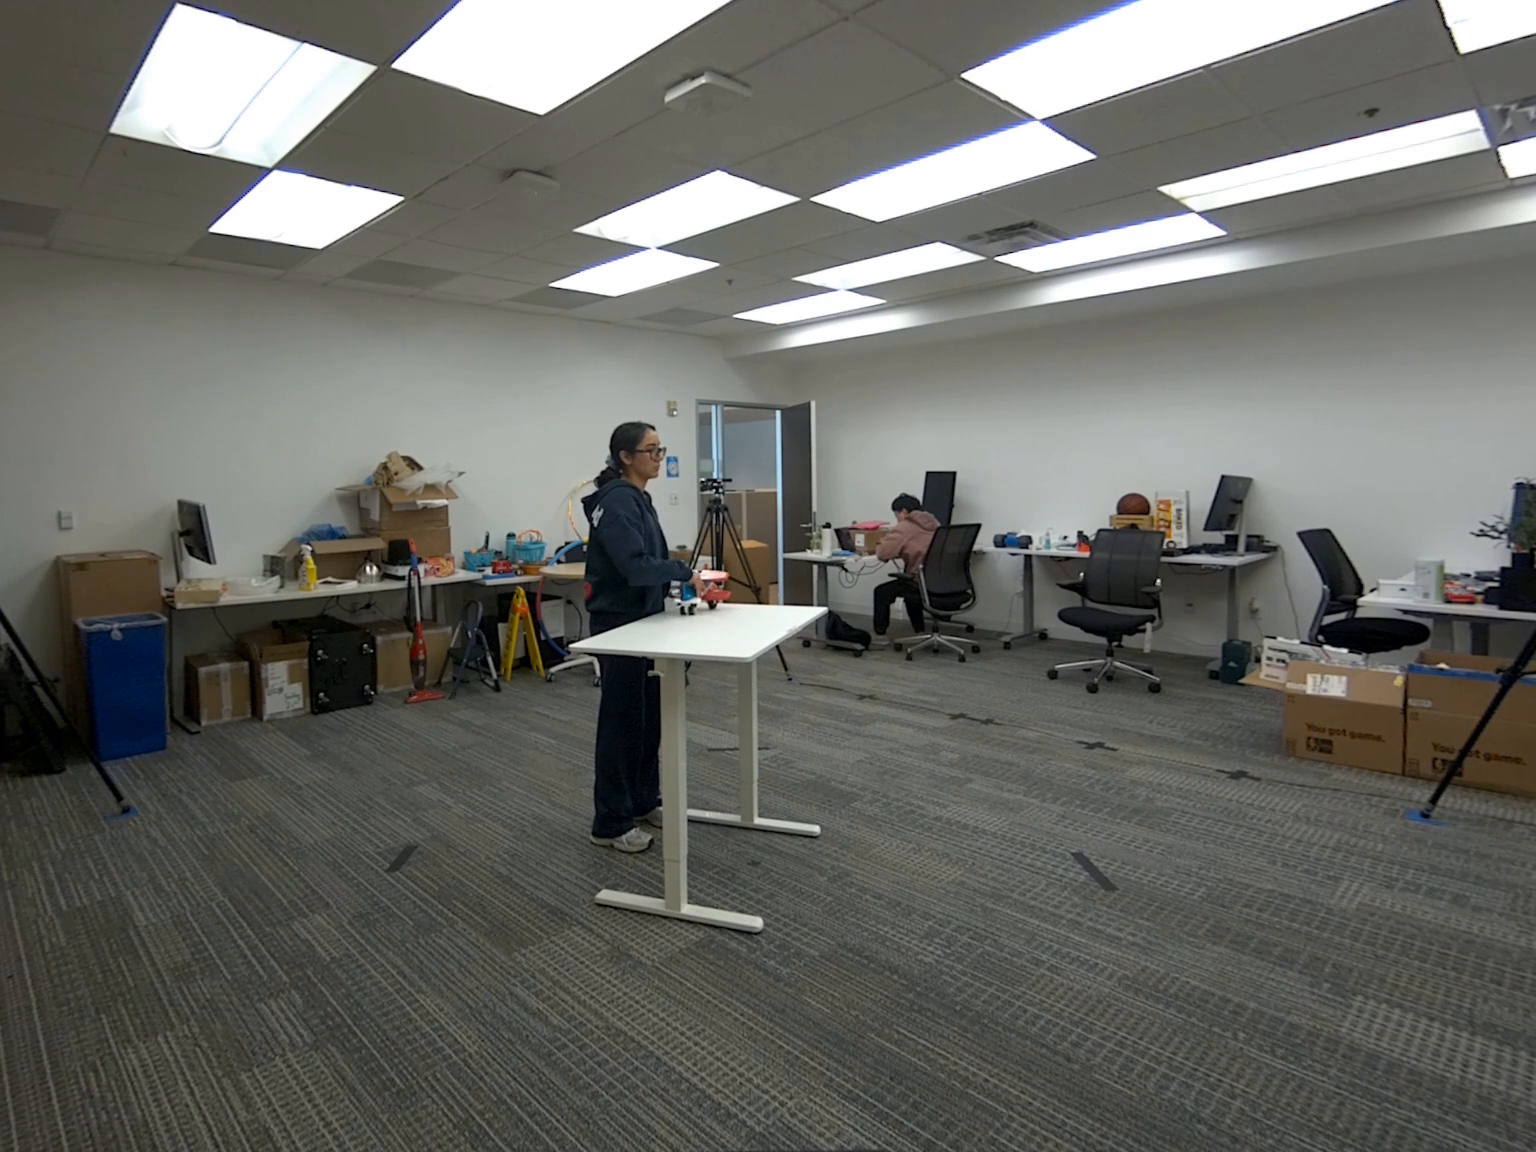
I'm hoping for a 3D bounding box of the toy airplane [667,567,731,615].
[{"bbox_3d":[-0.262,0.062,3.336,0.248,0.156,0.263,0,3,-13],"label":"toy airplane"}]
